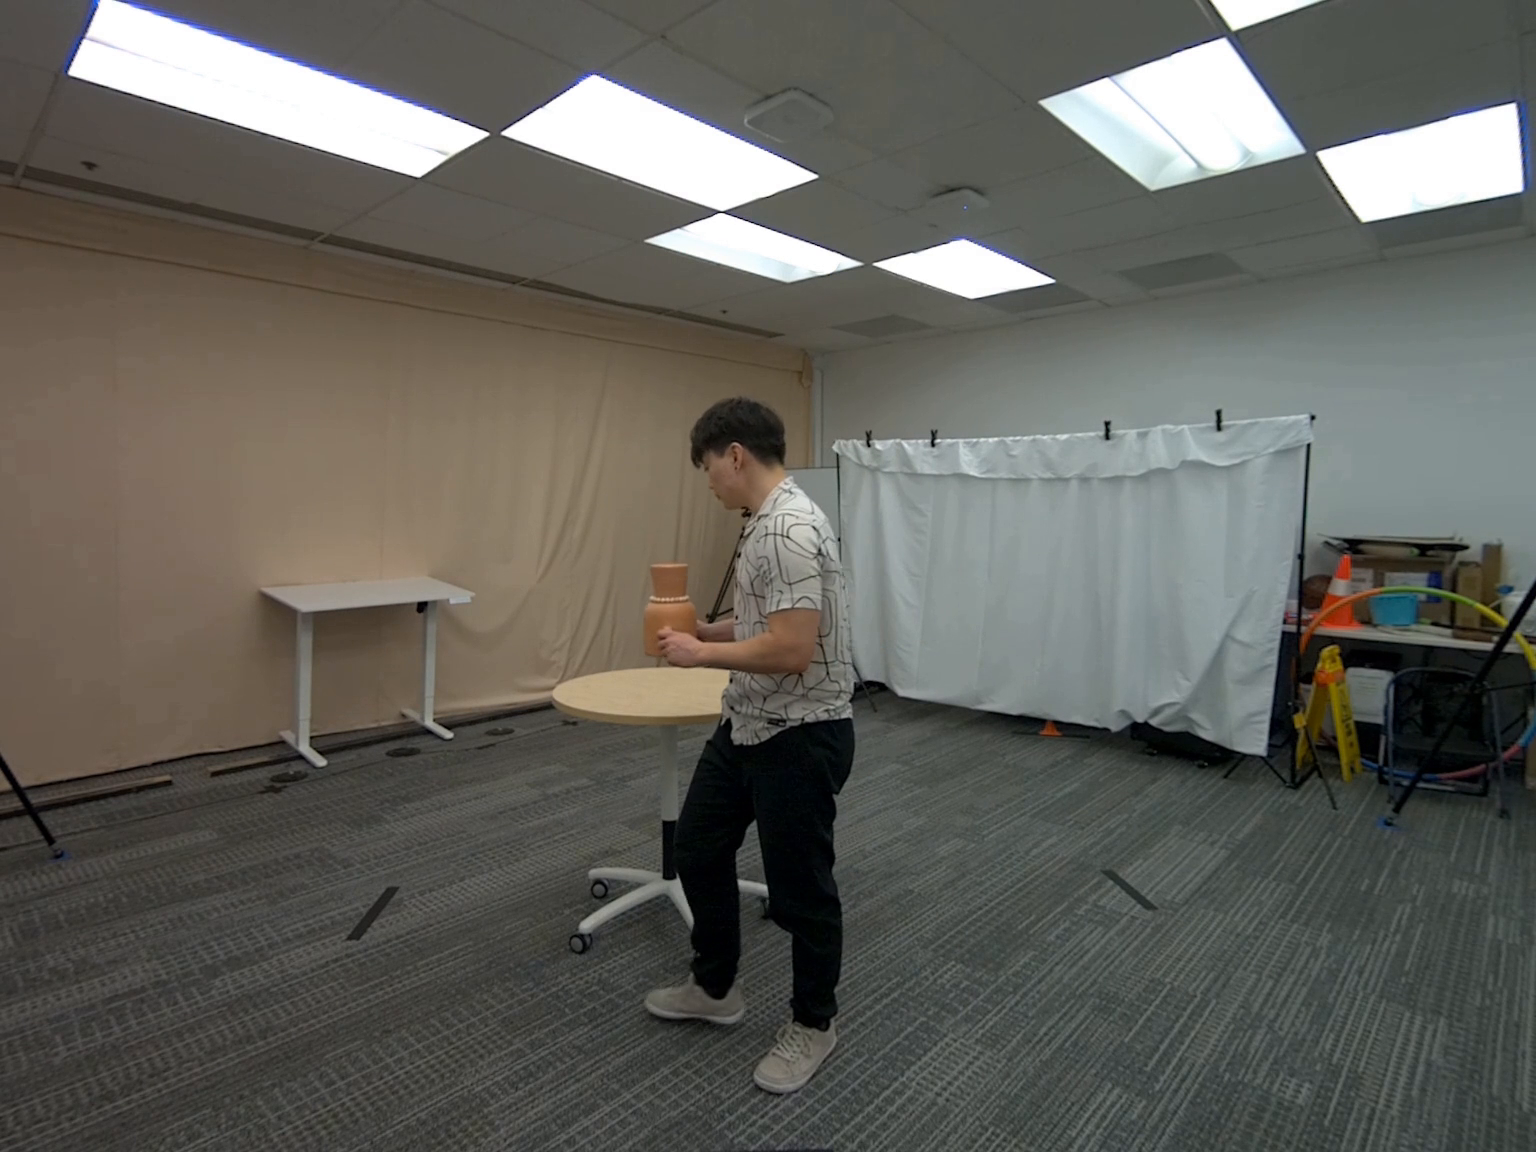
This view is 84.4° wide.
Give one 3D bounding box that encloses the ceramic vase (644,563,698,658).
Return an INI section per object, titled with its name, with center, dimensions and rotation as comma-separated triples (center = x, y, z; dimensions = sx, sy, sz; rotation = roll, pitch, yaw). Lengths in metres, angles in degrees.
[ceramic vase]
center = -0.238, 0.084, 2.107
dimensions = 0.131, 0.219, 0.164
rotation = -2, 4, -35
